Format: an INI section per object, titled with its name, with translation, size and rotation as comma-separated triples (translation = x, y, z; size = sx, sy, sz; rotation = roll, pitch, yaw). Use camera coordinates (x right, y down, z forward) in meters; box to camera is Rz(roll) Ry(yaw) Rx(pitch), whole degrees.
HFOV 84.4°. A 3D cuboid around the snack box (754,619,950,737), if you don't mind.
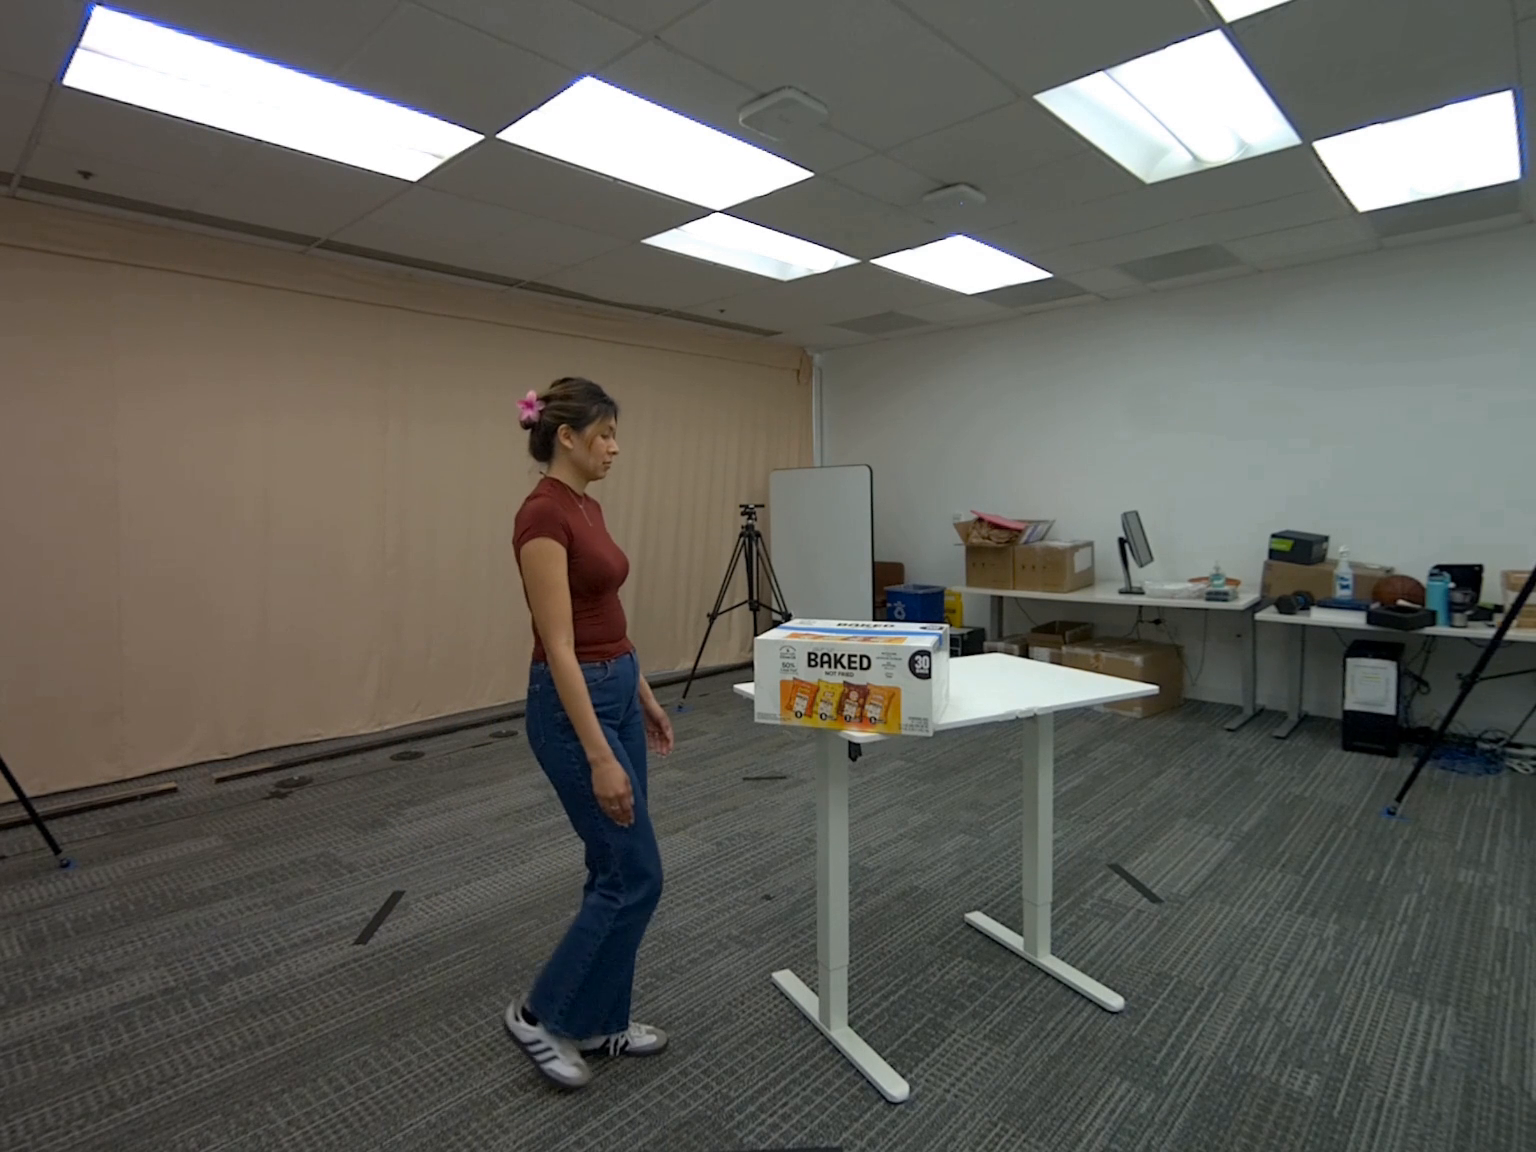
[snack box]
translation = 0.220, 0.236, 2.031
size = 0.414, 0.205, 0.334
rotation = 1, 5, 19
